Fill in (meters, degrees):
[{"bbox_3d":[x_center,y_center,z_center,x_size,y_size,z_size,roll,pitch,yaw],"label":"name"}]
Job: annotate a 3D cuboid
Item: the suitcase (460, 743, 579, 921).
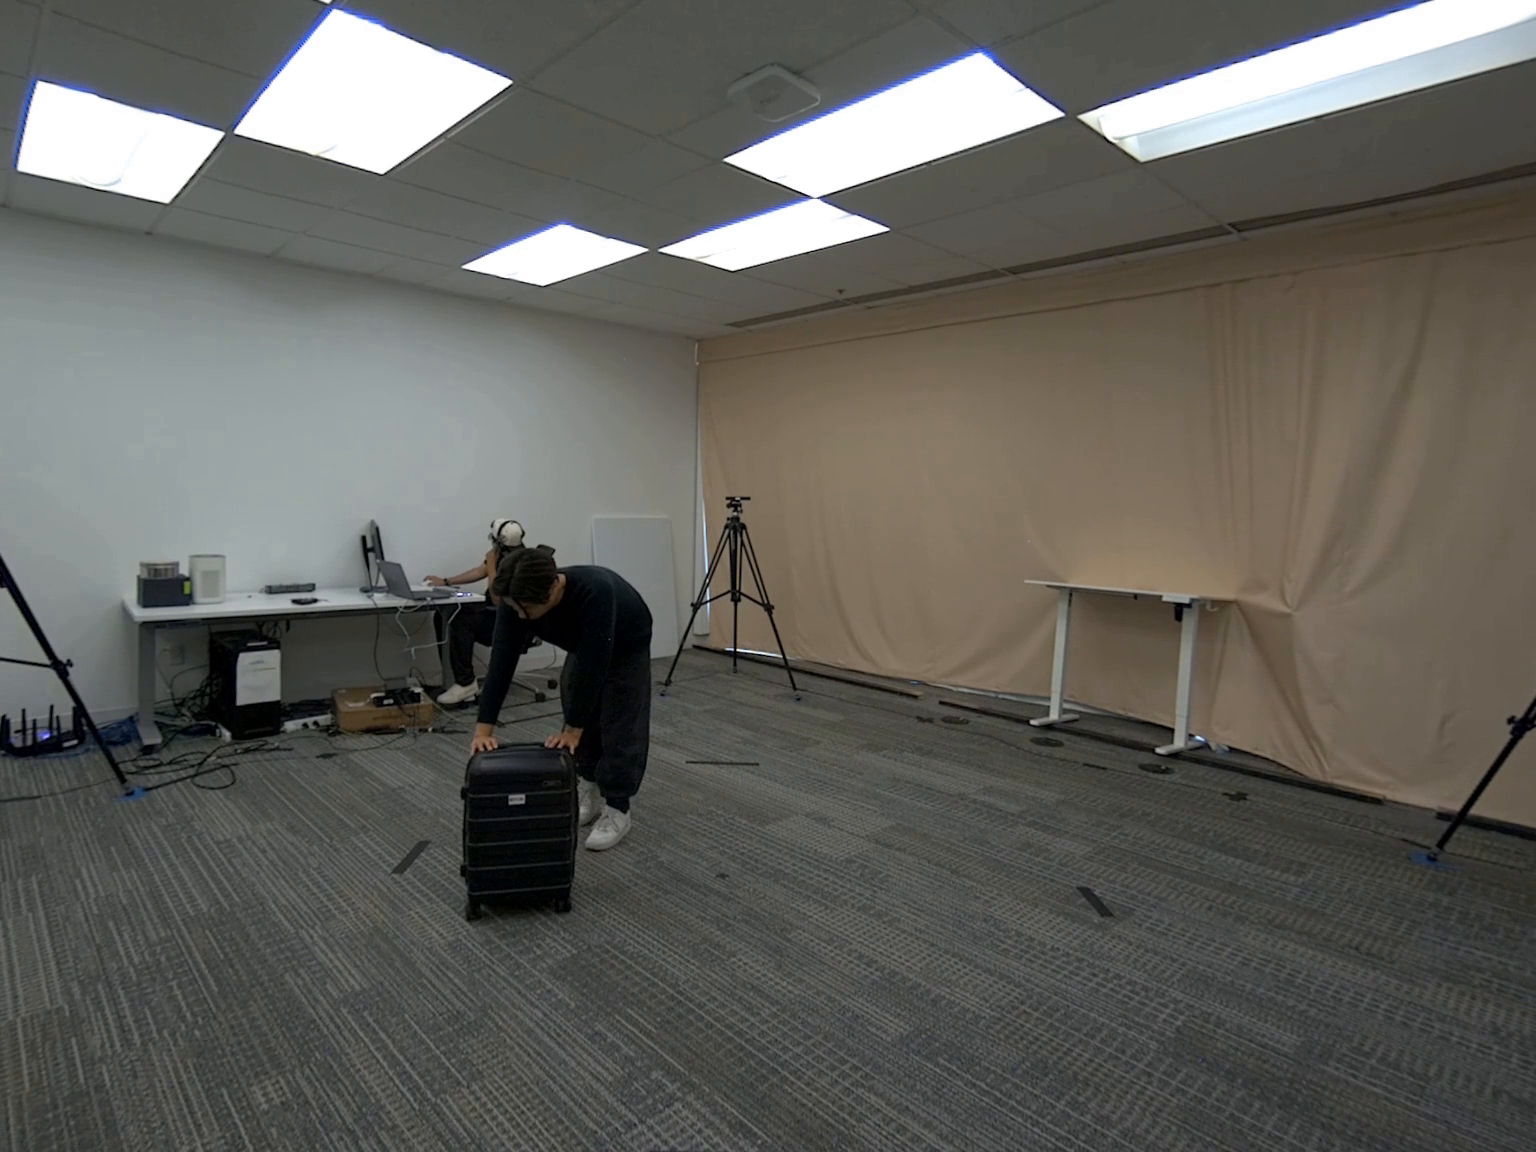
[{"bbox_3d":[-0.846,0.842,2.844,0.371,0.547,0.252,1,6,-14],"label":"suitcase"}]
